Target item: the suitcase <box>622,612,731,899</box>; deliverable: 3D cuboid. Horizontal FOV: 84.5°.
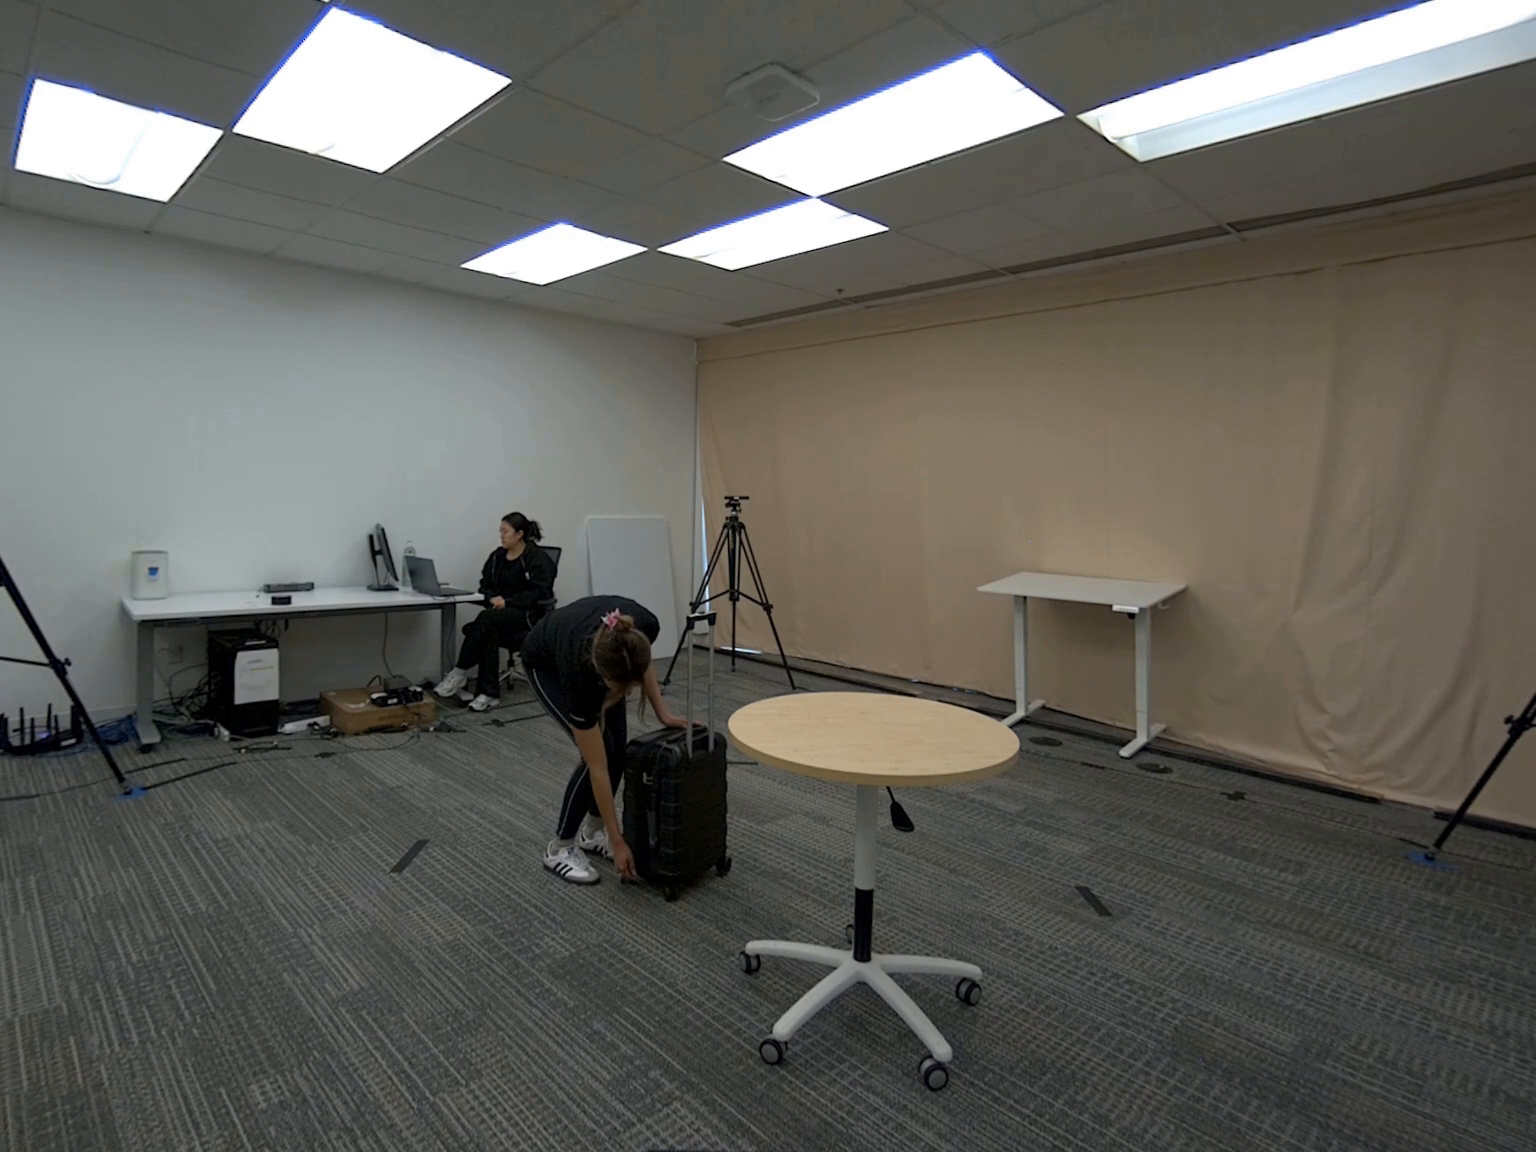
[{"bbox_3d":[-0.341,0.623,3.035,0.263,0.976,0.376,3,4,33],"label":"suitcase"}]
